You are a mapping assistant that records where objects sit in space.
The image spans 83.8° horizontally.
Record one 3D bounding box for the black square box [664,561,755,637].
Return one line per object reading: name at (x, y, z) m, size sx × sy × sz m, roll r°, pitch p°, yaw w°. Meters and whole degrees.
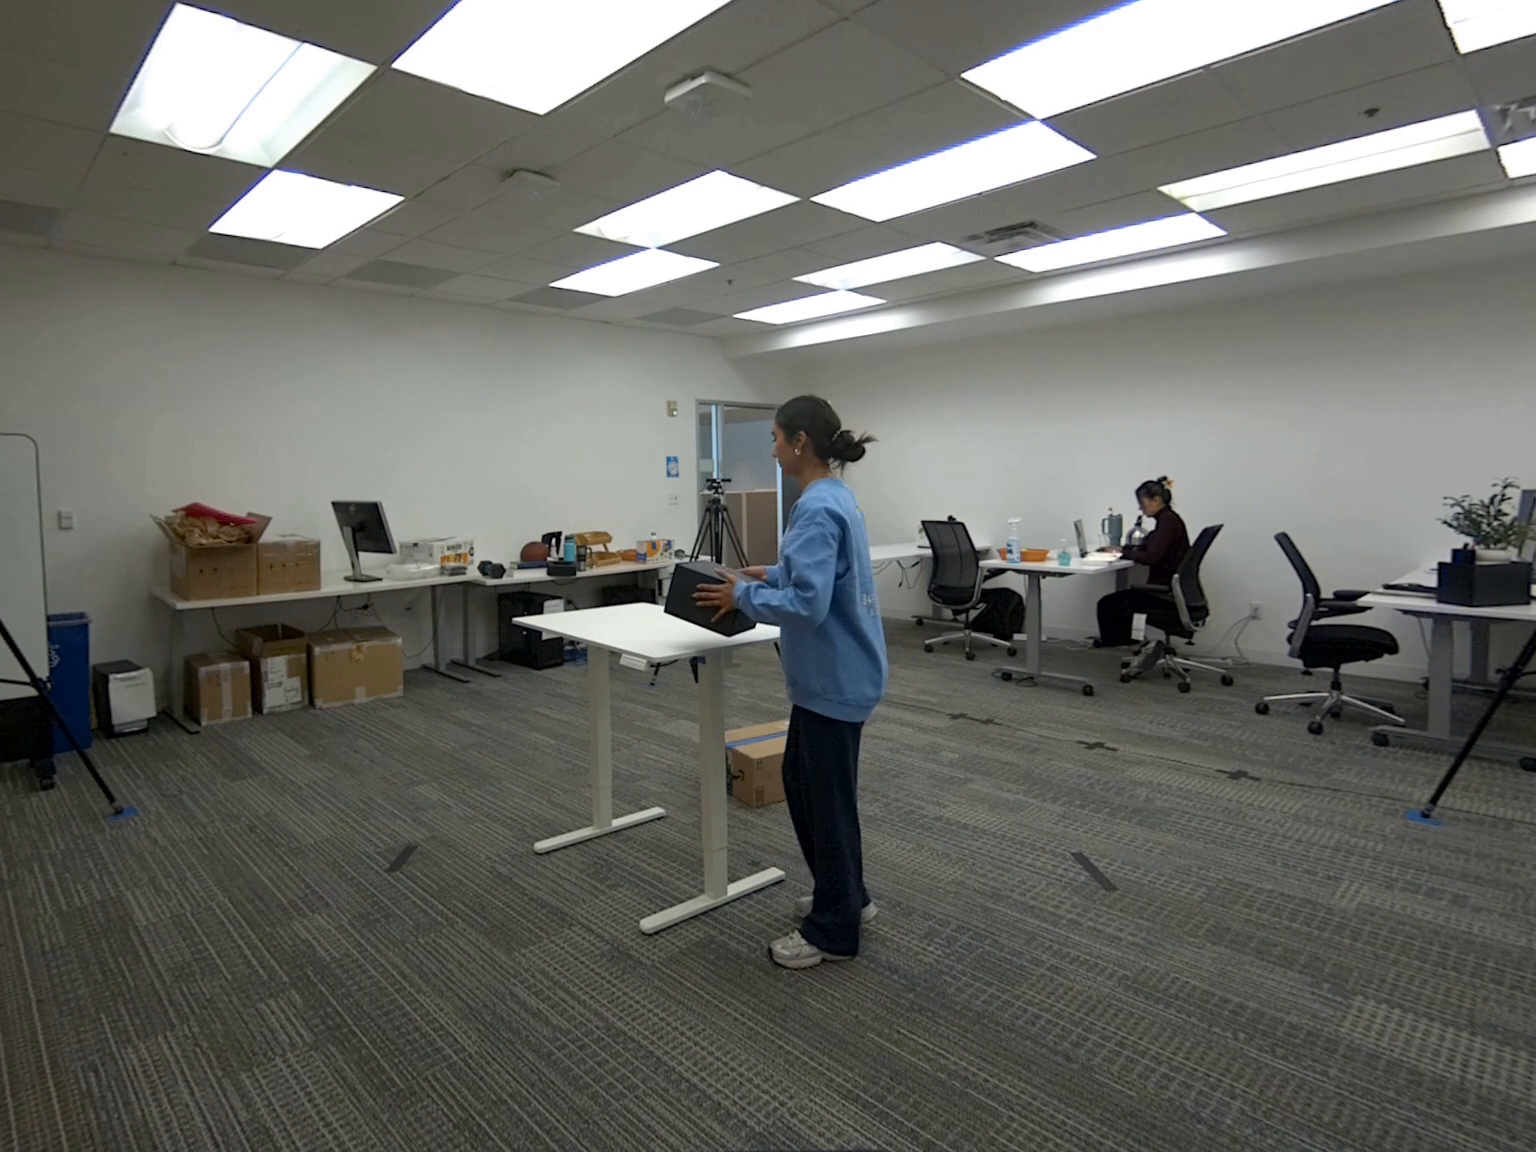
black square box at (-0.146, 0.060, 2.606) m, size 0.233 × 0.155 × 0.213 m, roll 18°, pitch 9°, yaw 19°
